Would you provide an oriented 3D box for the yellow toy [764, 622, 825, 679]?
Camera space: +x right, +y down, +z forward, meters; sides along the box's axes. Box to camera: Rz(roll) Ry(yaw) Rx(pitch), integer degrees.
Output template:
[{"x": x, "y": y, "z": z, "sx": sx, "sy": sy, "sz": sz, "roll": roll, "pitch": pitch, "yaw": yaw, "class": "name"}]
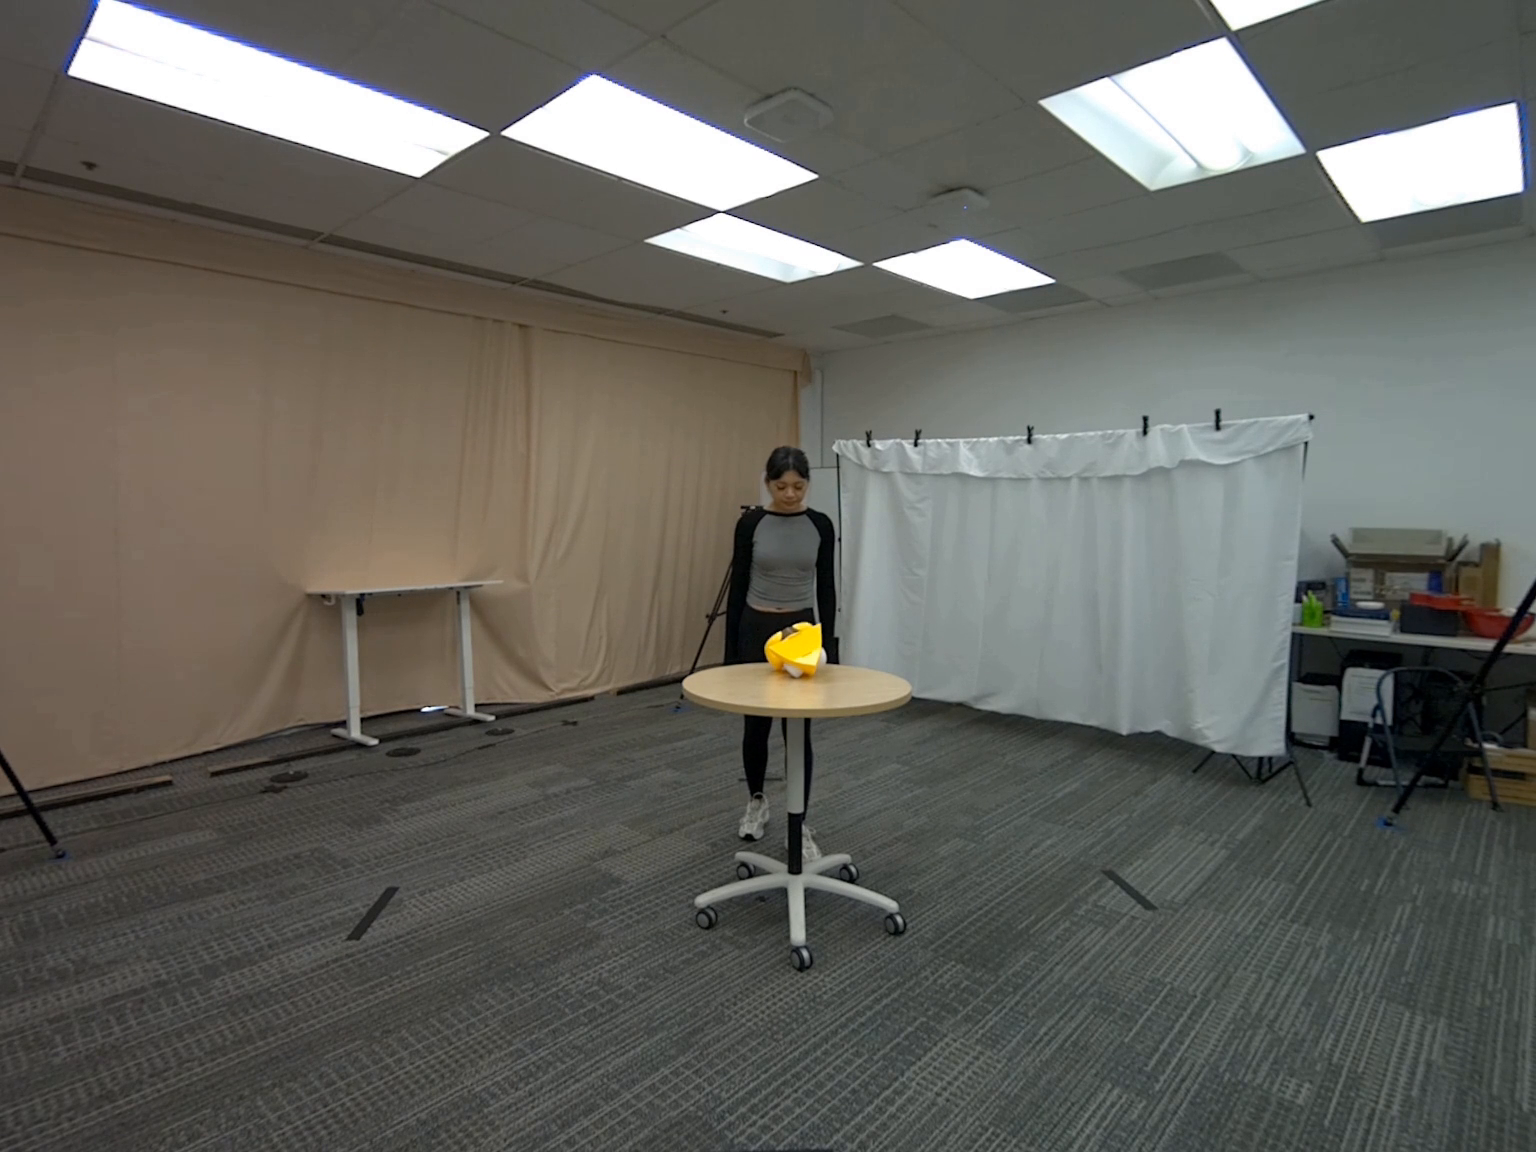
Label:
[{"x": 0.120, "y": 0.296, "z": 2.954, "sx": 0.203, "sy": 0.188, "sz": 0.238, "roll": -25, "pitch": 34, "yaw": -10, "class": "yellow toy"}]
